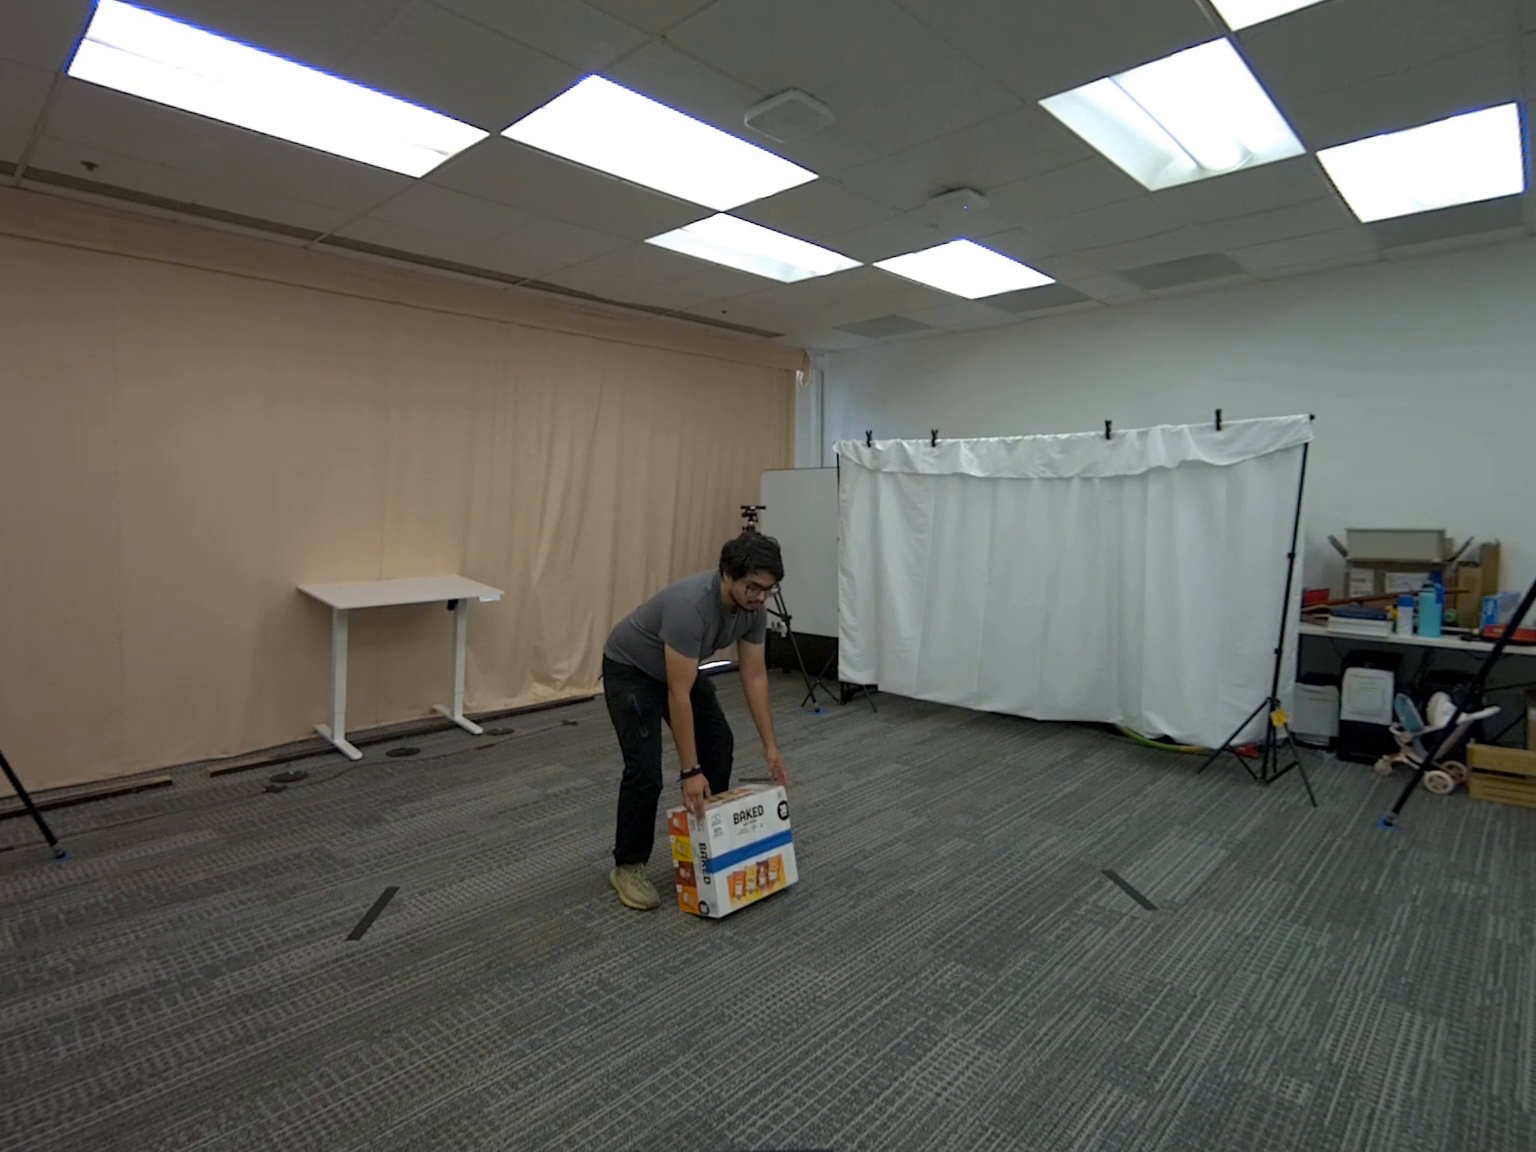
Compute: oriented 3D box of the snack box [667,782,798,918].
[{"bbox_3d":[-0.116,0.955,2.990,0.392,0.342,0.211,-3,-7,-45],"label":"snack box"}]
